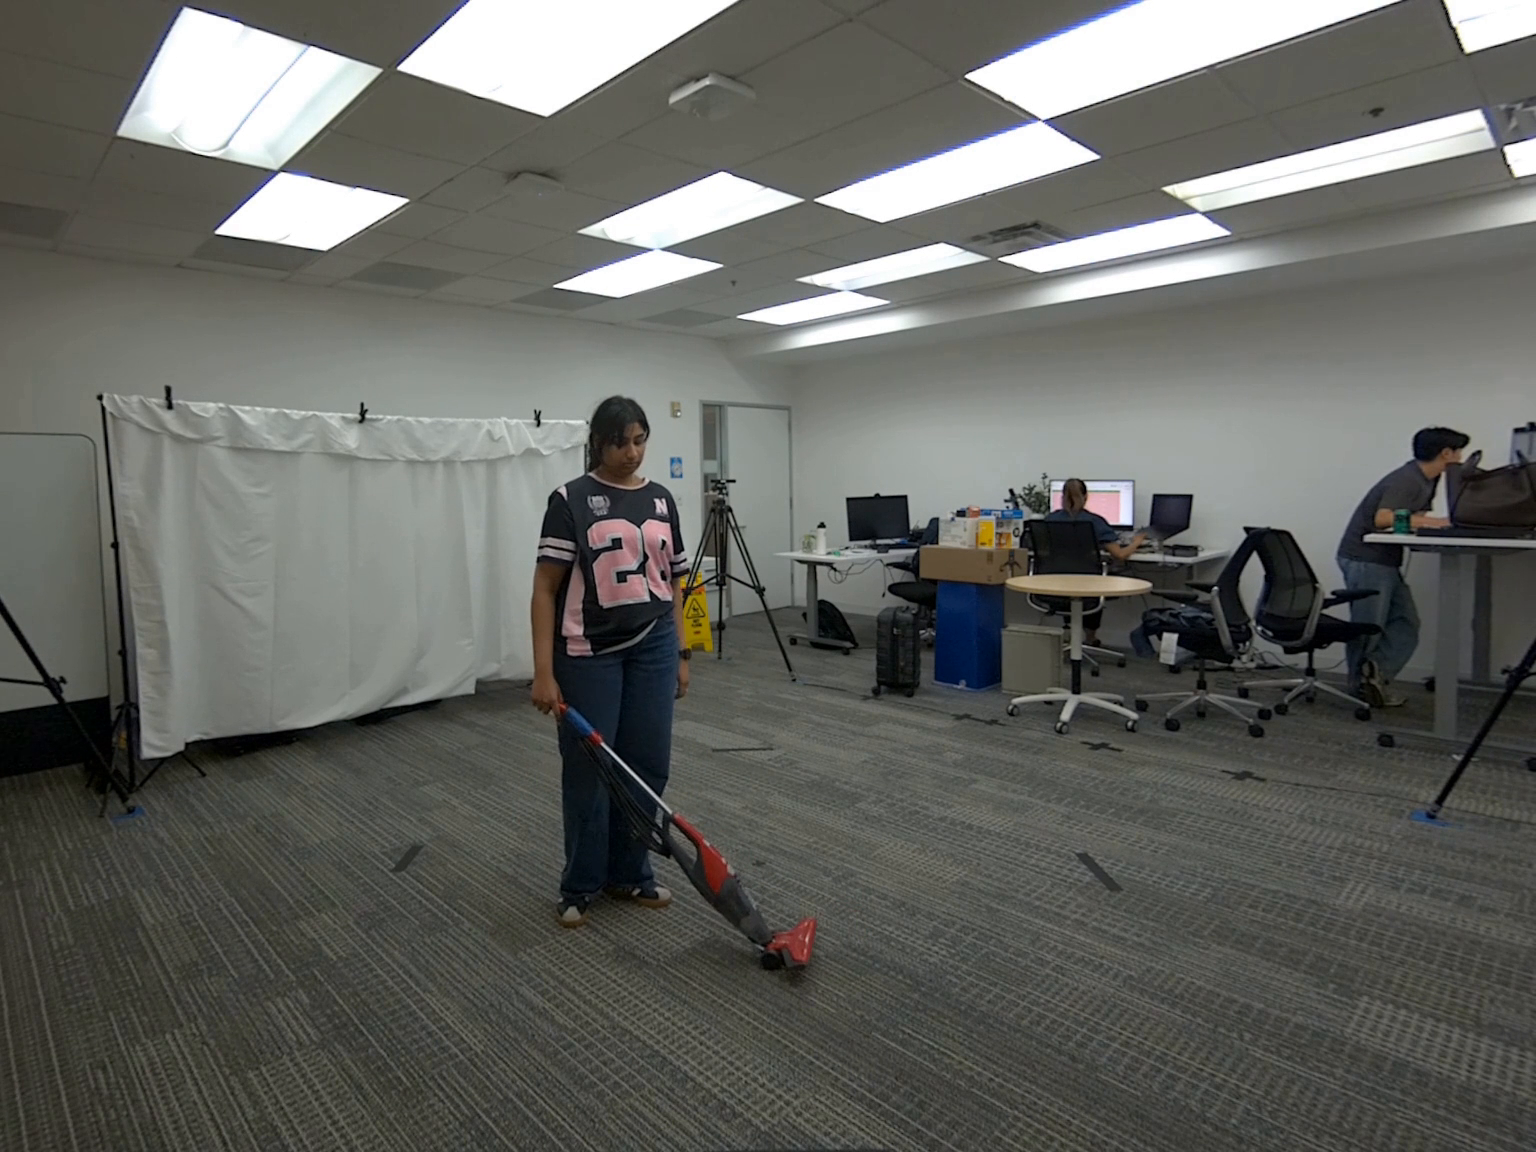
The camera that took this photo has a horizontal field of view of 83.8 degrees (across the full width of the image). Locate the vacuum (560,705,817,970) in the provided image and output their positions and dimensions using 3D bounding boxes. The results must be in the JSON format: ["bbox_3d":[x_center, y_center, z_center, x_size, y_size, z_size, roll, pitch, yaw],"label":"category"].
[{"bbox_3d":[-0.304,0.744,2.540,1.059,0.144,0.250,42,12,6],"label":"vacuum"}]
